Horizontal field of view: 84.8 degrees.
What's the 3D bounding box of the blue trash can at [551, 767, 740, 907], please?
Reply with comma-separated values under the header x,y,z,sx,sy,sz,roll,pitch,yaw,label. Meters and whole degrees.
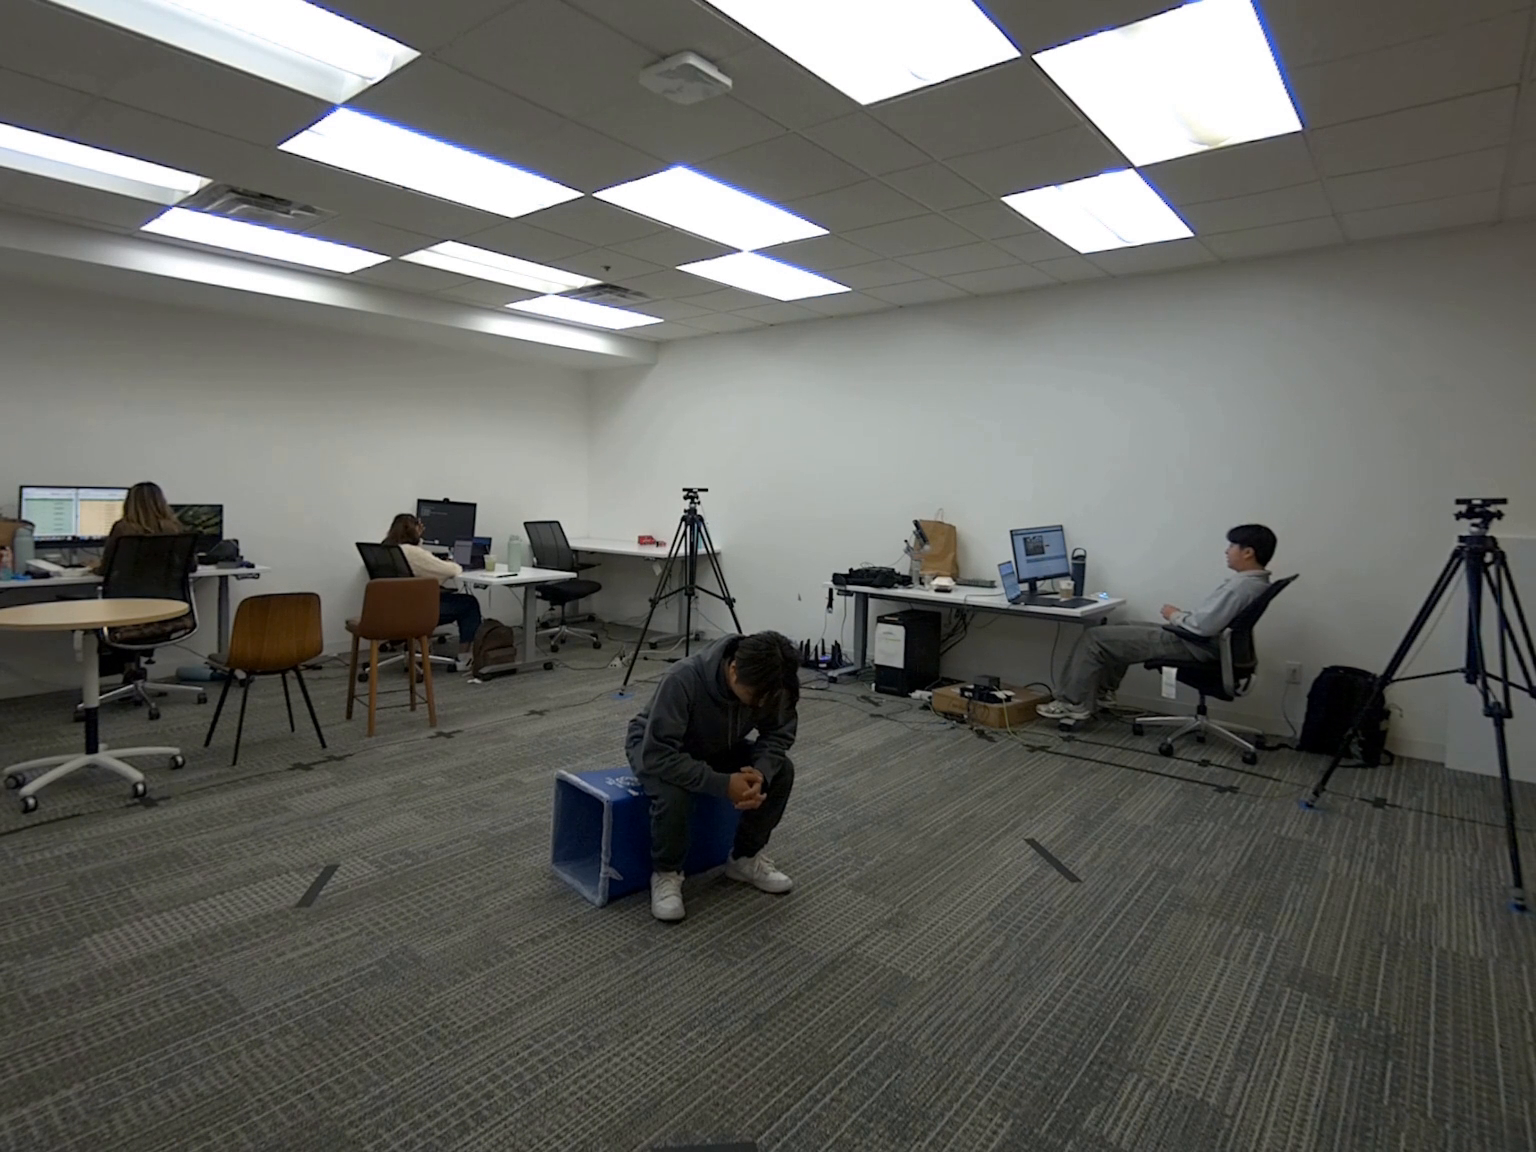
x,y,z,sx,sy,sz,roll,pitch,yaw,label
-0.413,0.893,3.156,0.691,0.378,0.387,1,3,-41,blue trash can
